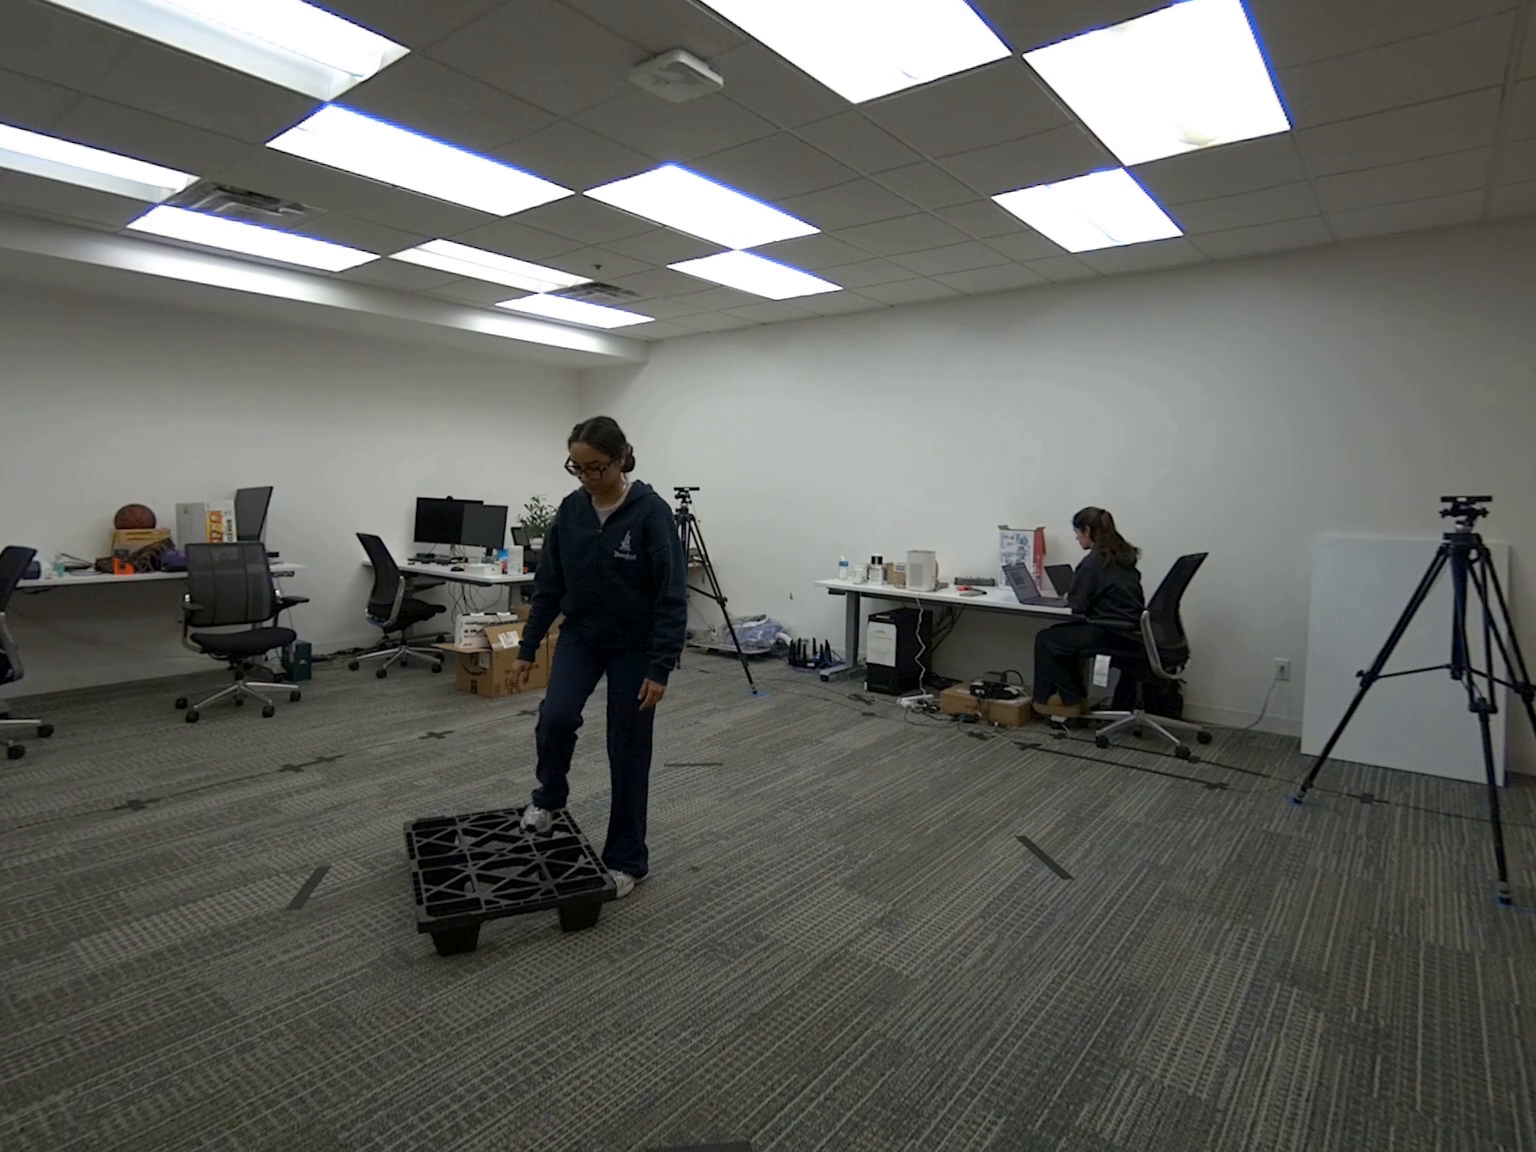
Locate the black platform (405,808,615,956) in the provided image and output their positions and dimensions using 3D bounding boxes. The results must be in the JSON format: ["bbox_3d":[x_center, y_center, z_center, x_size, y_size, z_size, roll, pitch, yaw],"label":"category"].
[{"bbox_3d":[-0.928,1.008,2.925,0.591,0.143,0.828,-2,6,-25],"label":"black platform"}]
